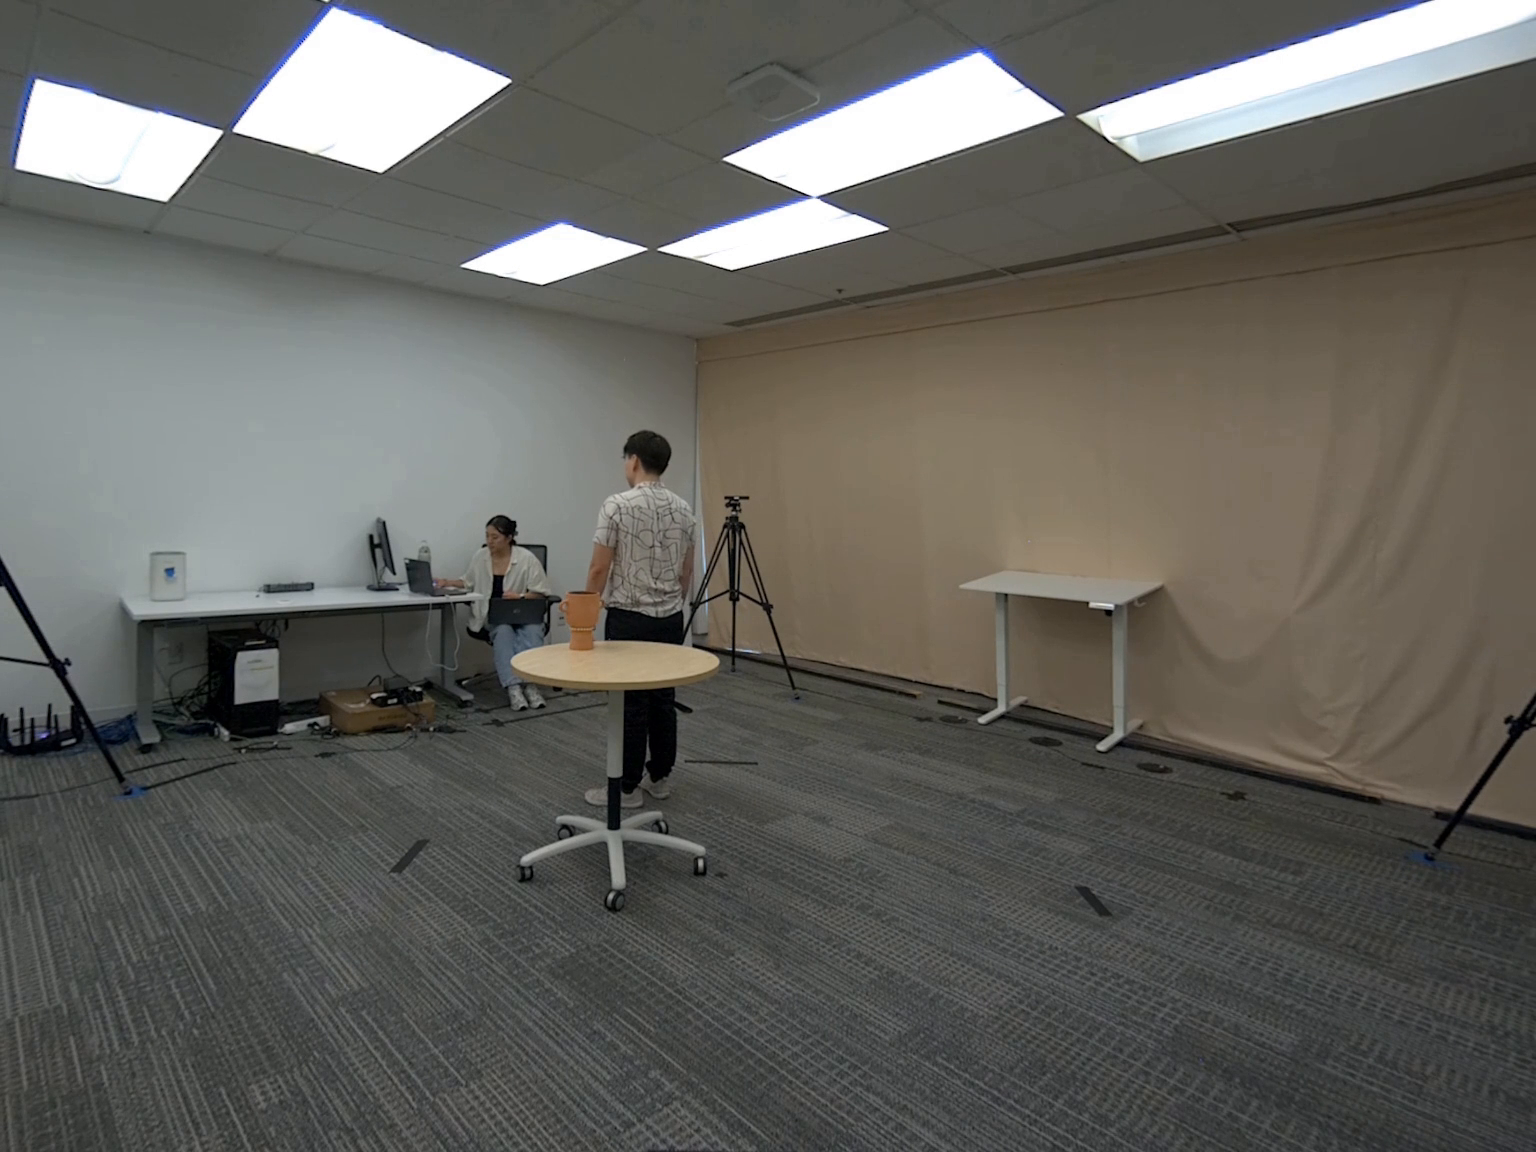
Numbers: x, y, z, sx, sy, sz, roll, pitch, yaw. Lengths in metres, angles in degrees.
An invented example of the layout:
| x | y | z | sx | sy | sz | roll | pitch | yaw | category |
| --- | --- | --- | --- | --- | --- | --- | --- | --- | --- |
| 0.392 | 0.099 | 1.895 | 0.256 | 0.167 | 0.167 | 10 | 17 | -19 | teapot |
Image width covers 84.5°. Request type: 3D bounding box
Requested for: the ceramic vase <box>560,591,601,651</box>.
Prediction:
| x | y | z | sx | sy | sz | roll | pitch | yaw | category |
| --- | --- | --- | --- | --- | --- | --- | --- | --- | --- |
| -0.760 | 0.178 | 3.321 | 0.159 | 0.219 | 0.135 | 1 | 2 | 1 | ceramic vase |
